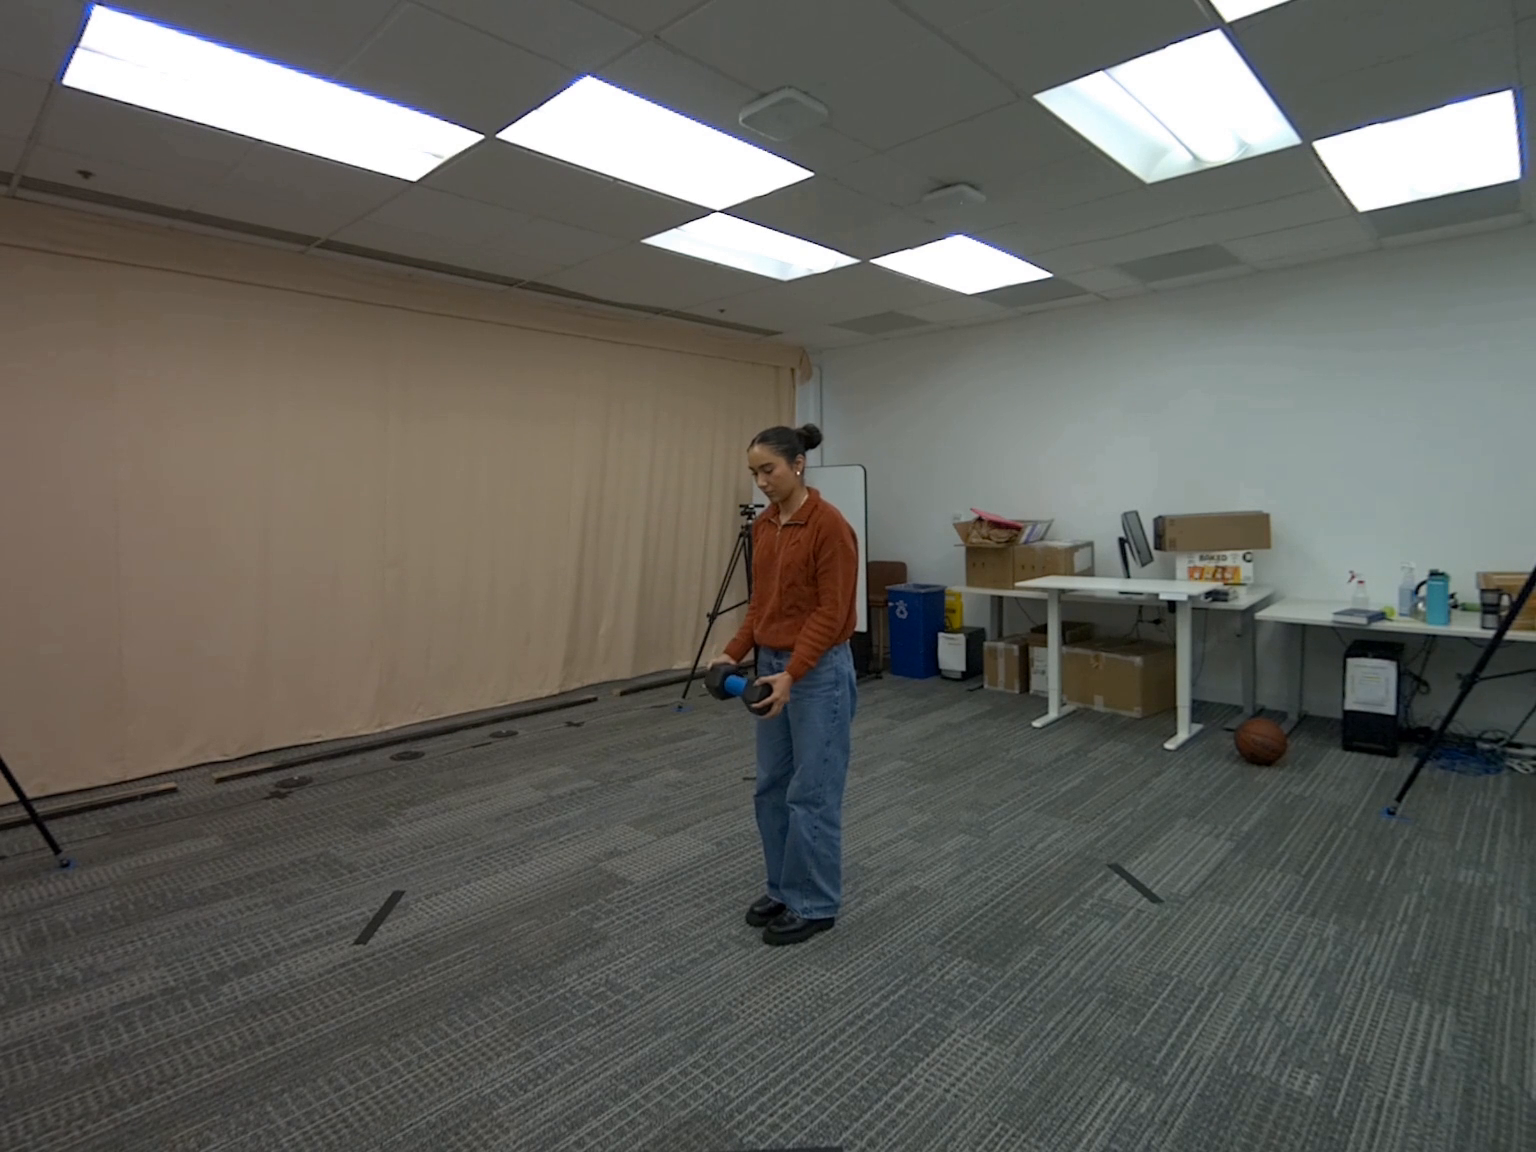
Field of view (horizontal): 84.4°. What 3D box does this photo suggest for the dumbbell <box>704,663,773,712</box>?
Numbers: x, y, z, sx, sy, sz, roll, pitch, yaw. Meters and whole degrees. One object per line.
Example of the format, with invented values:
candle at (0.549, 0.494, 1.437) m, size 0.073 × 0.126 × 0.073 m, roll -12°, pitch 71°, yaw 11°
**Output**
dumbbell at (-0.071, 0.350, 2.673) m, size 0.105 × 0.123 × 0.303 m, roll 27°, pitch -11°, yaw -33°
